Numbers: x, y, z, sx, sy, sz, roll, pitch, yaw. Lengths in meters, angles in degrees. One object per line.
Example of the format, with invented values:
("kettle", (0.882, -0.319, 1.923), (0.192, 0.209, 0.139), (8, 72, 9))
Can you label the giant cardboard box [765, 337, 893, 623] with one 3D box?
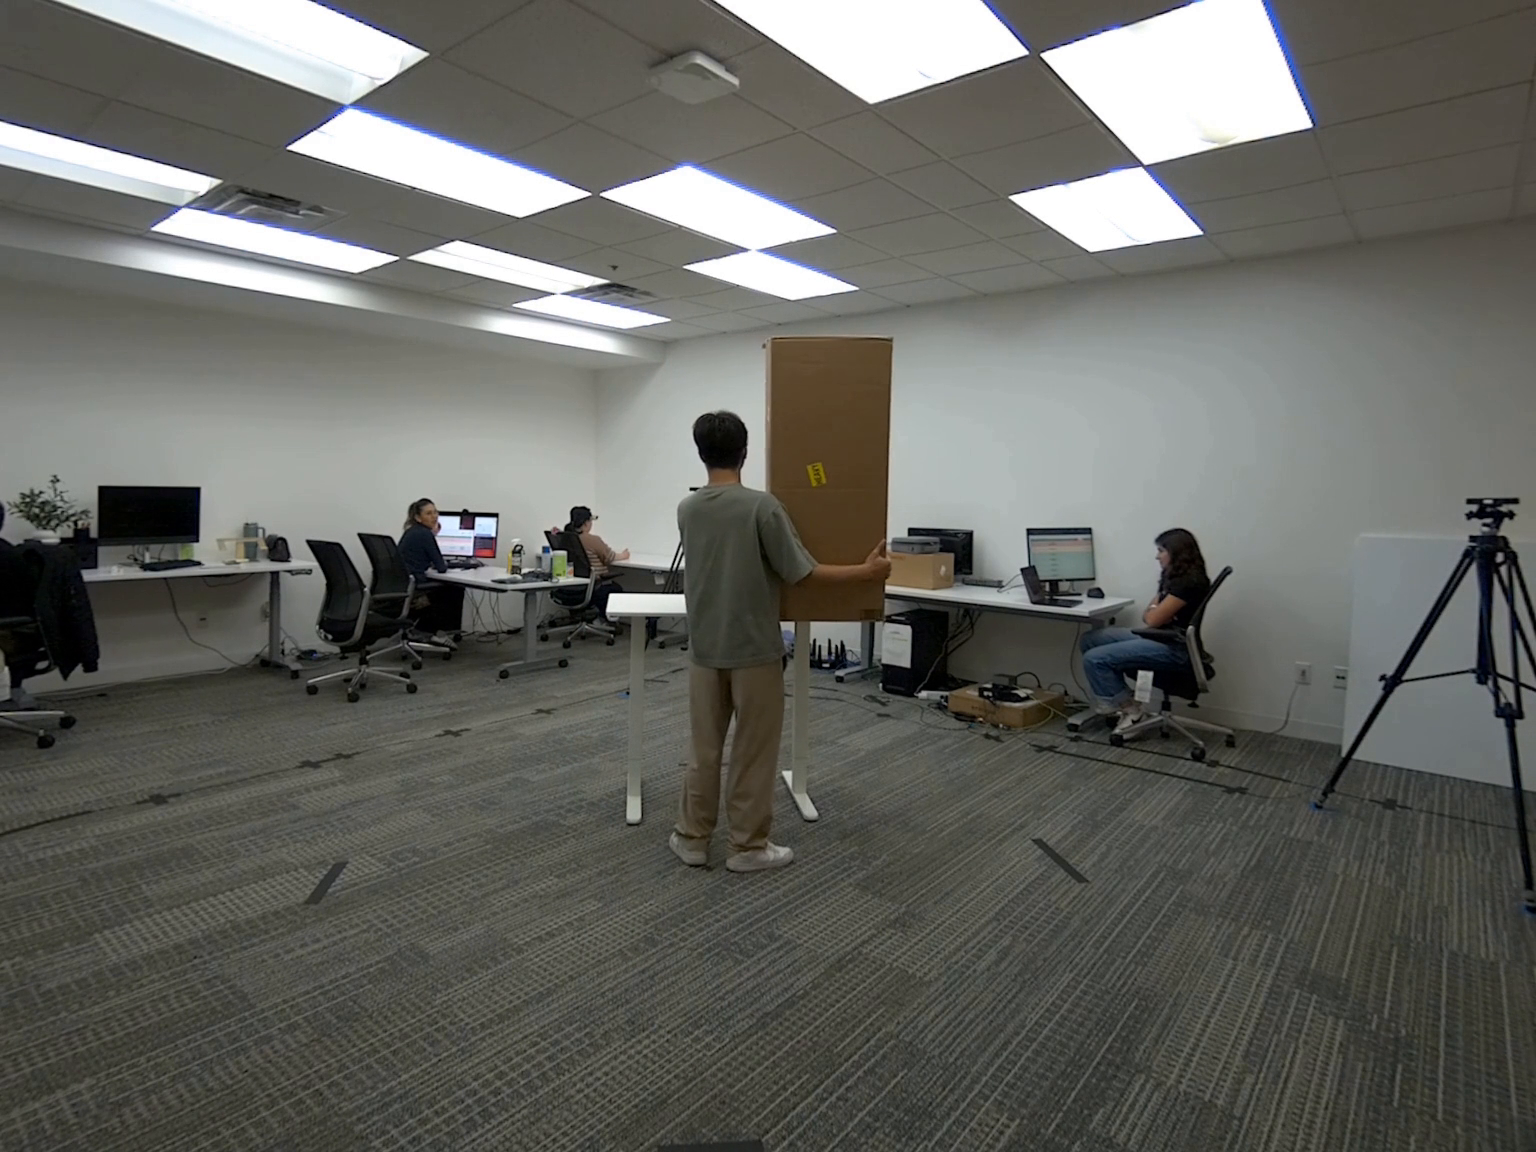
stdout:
("giant cardboard box", (0.204, -0.394, 3.297), (0.427, 1.014, 0.583), (0, 12, 1))
